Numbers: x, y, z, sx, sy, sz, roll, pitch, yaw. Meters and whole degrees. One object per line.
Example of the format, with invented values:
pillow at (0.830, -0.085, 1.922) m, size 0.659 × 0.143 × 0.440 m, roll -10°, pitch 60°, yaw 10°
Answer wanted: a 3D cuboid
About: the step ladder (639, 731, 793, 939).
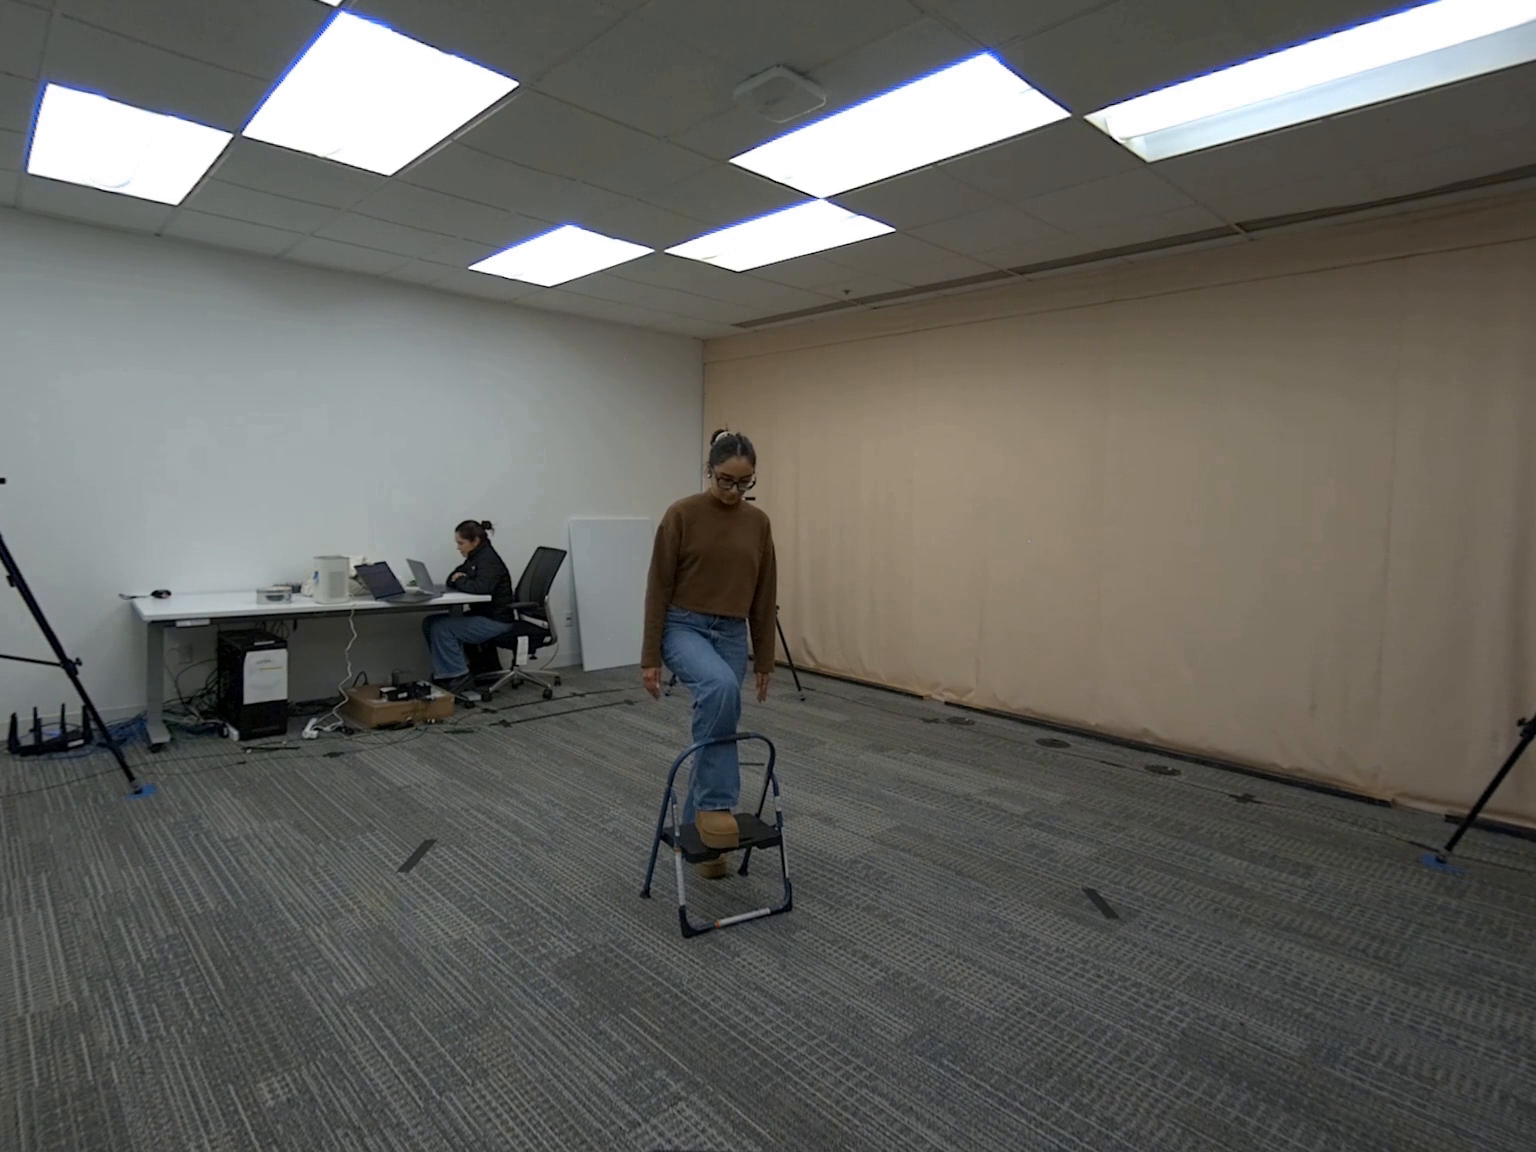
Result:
step ladder at (-0.176, 0.824, 2.880) m, size 0.421 × 0.604 × 0.357 m, roll -1°, pitch 4°, yaw -32°
